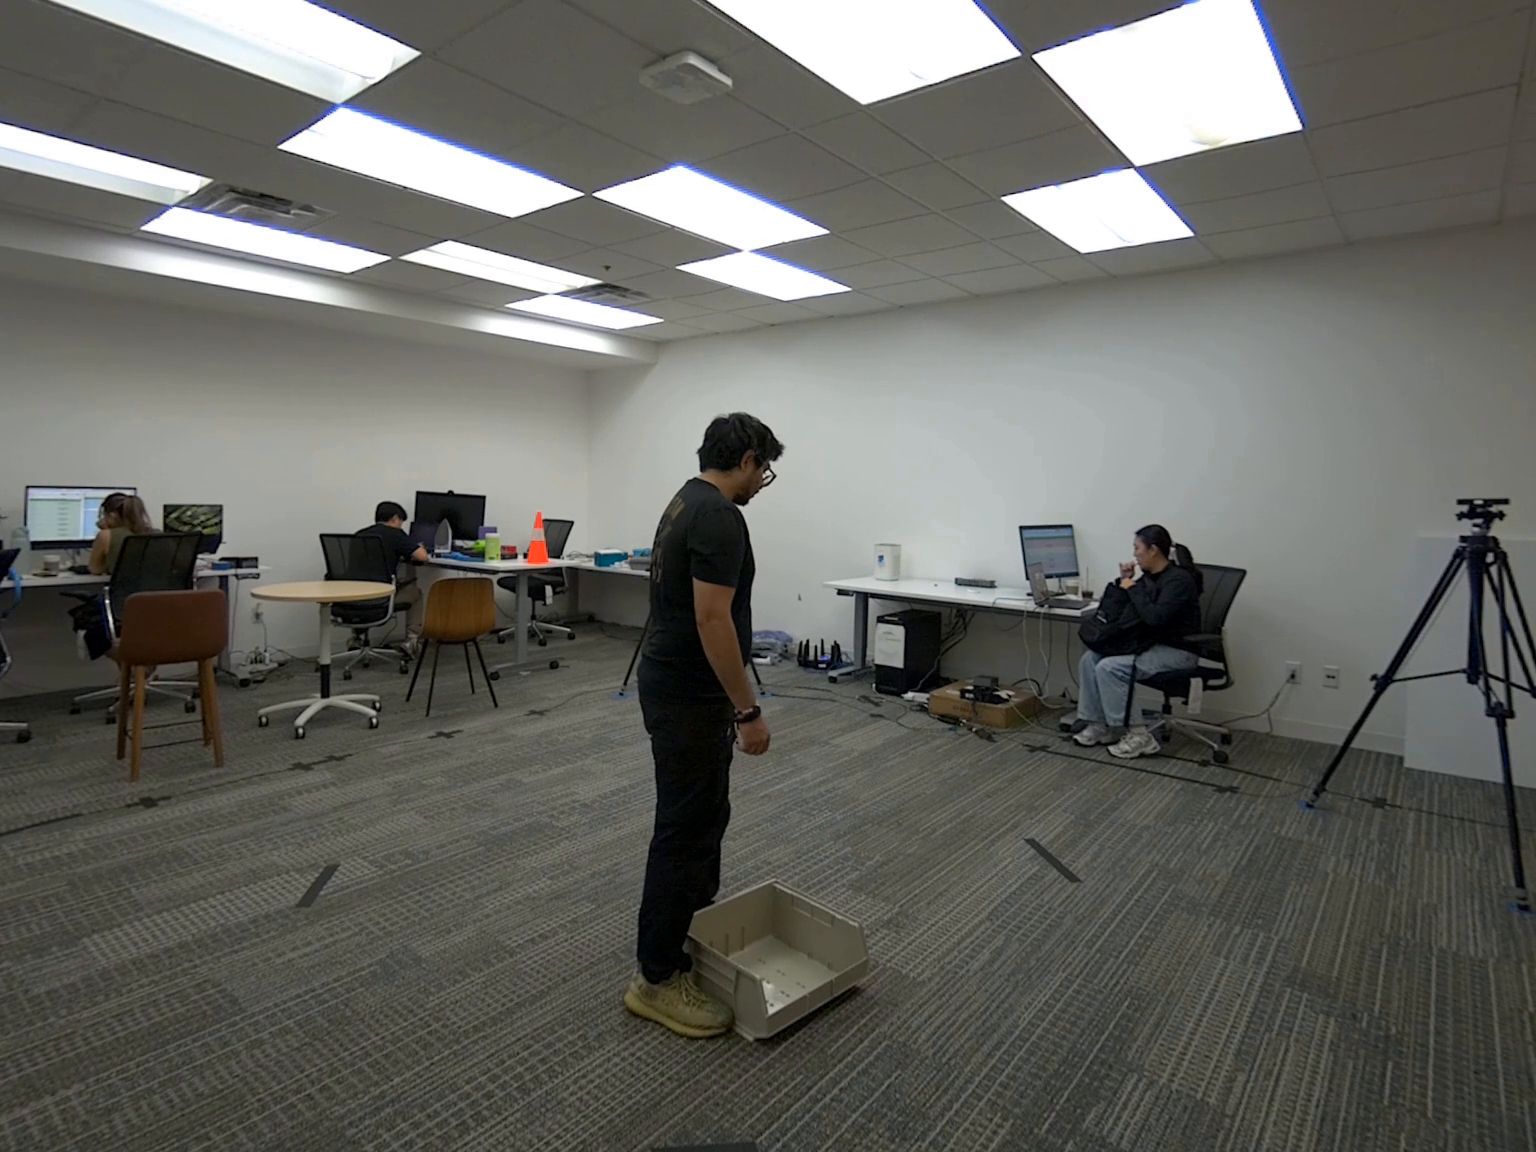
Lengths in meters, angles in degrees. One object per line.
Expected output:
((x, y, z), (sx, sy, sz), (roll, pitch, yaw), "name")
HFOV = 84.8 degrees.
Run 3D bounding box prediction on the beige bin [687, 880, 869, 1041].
((0.000, 1.055, 2.375), (0.409, 0.188, 0.390), (-4, 6, -44), "beige bin")
